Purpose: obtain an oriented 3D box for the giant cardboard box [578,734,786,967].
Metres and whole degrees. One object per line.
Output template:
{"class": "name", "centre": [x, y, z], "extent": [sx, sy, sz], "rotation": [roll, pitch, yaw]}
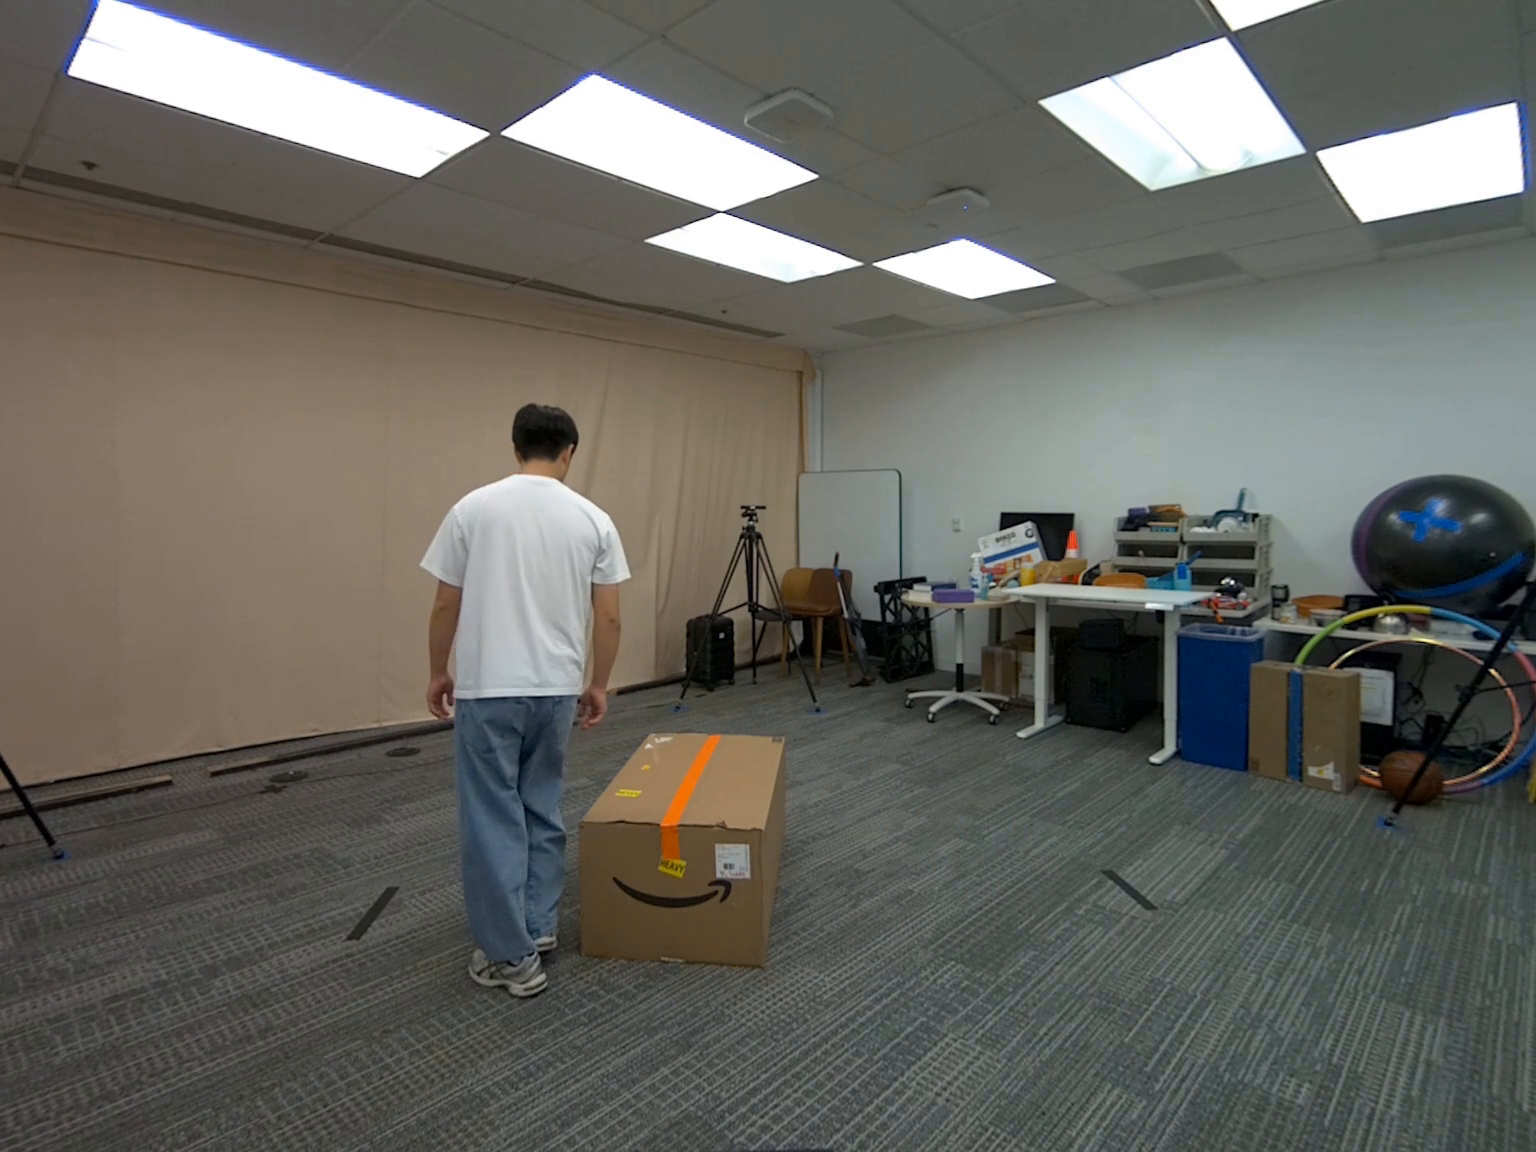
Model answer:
{"class": "giant cardboard box", "centre": [-0.253, 0.921, 3.063], "extent": [0.582, 0.425, 1.021], "rotation": [0, 4, 5]}
